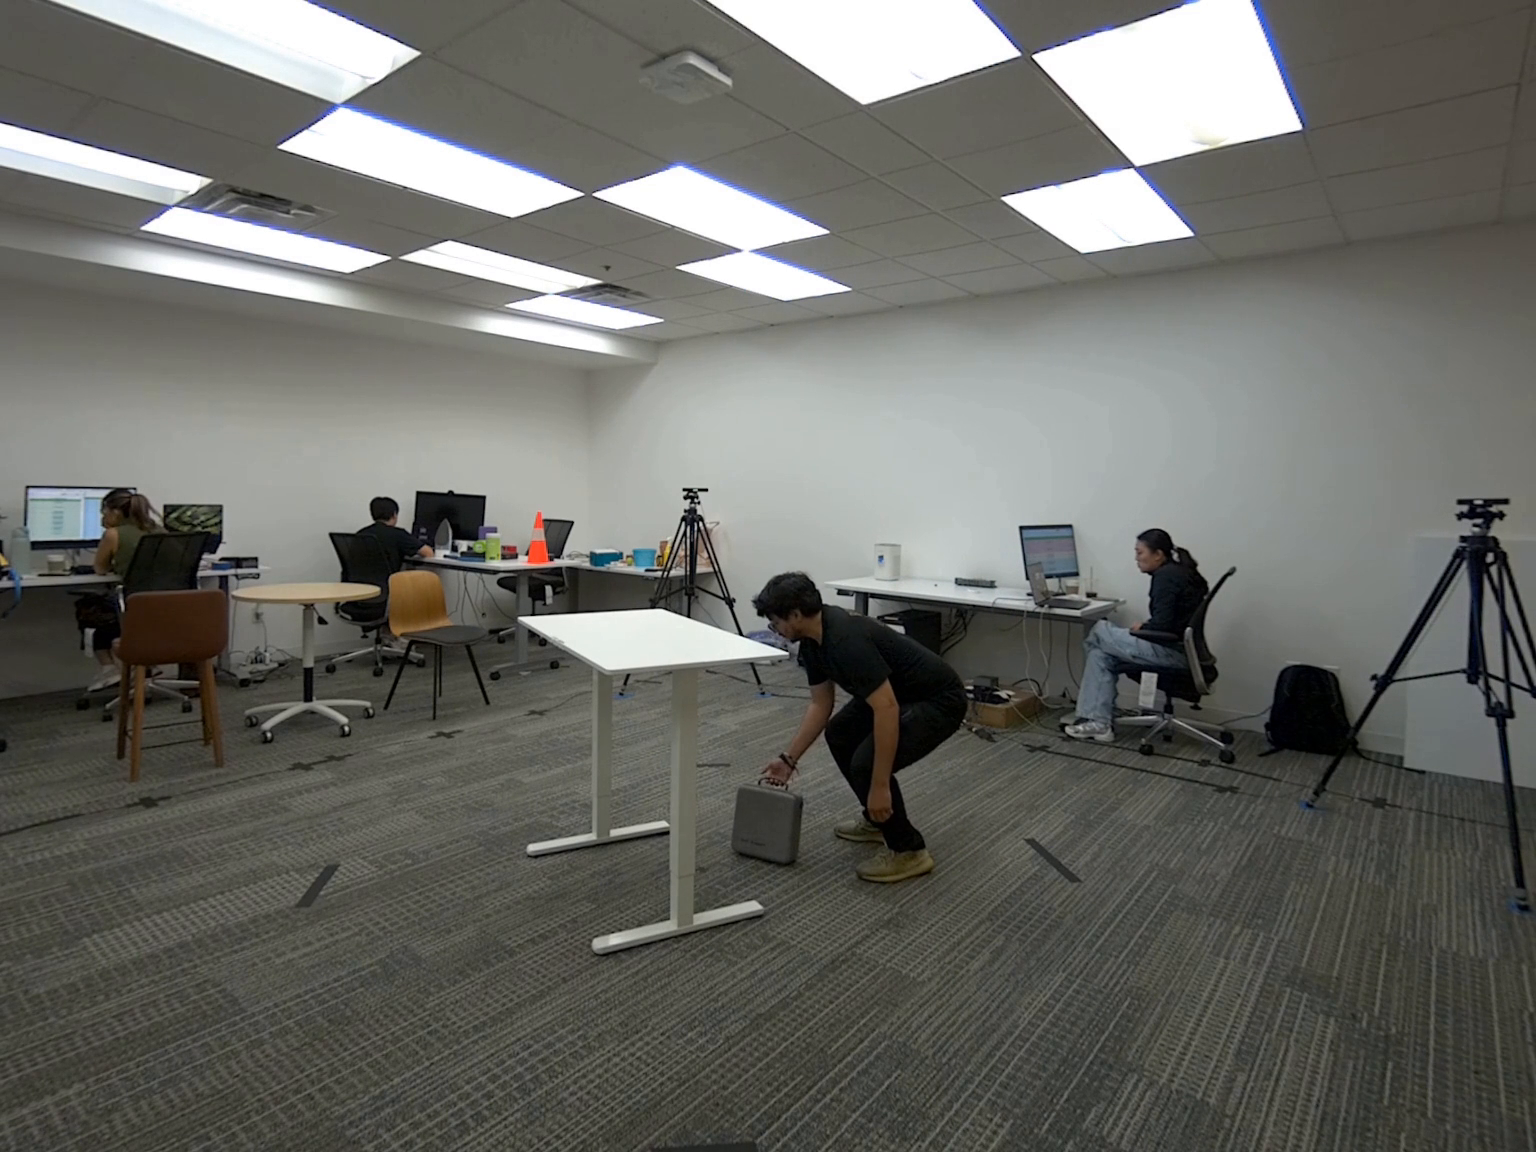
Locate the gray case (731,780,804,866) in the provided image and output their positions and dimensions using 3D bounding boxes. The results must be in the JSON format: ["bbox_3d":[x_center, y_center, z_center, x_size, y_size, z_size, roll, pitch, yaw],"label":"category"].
[{"bbox_3d":[-0.014,0.930,3.240,0.264,0.262,0.101,3,-7,29],"label":"gray case"}]
